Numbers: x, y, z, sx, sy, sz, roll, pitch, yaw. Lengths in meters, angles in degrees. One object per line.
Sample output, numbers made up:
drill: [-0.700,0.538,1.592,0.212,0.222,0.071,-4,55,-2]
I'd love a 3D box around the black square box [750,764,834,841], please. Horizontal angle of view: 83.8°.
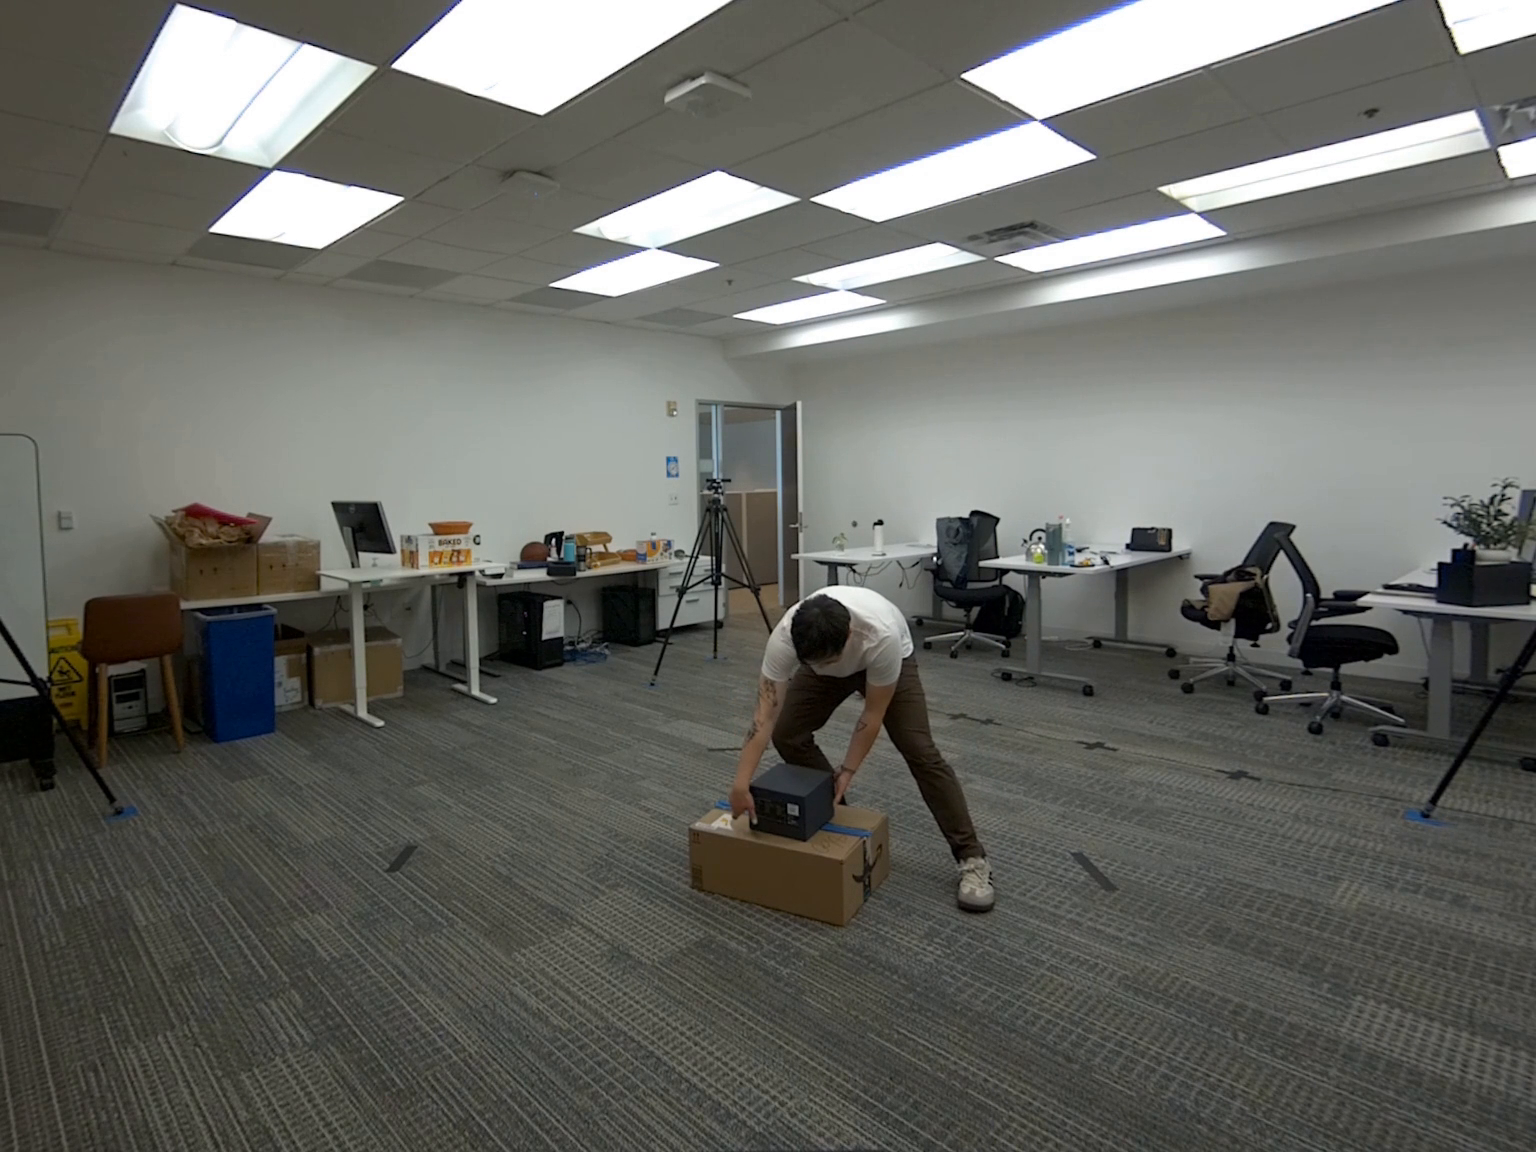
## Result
black square box: [0.085,0.763,2.915,0.223,0.155,0.223,3,9,30]
